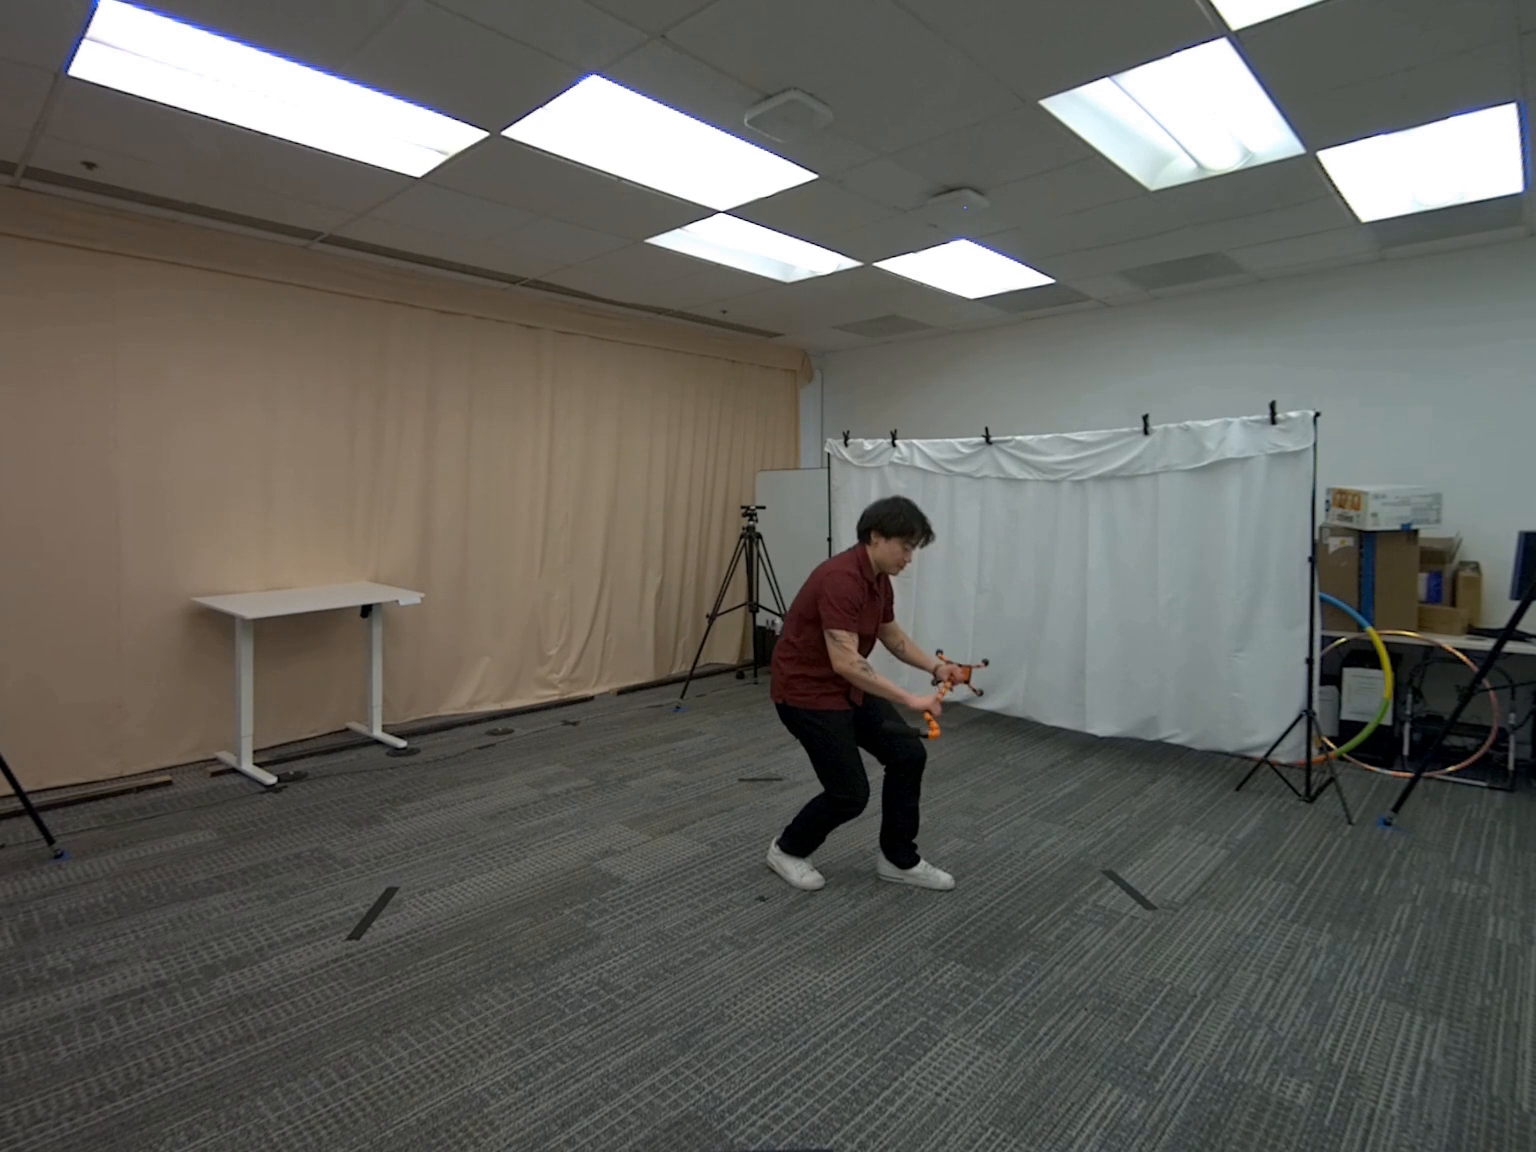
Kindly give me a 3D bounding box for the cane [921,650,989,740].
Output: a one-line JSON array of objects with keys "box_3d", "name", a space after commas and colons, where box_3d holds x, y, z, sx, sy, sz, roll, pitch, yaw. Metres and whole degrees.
[{"box_3d": [0.613, 0.434, 2.908, 0.211, 0.151, 0.890, 12, 10, 19], "name": "cane"}]
